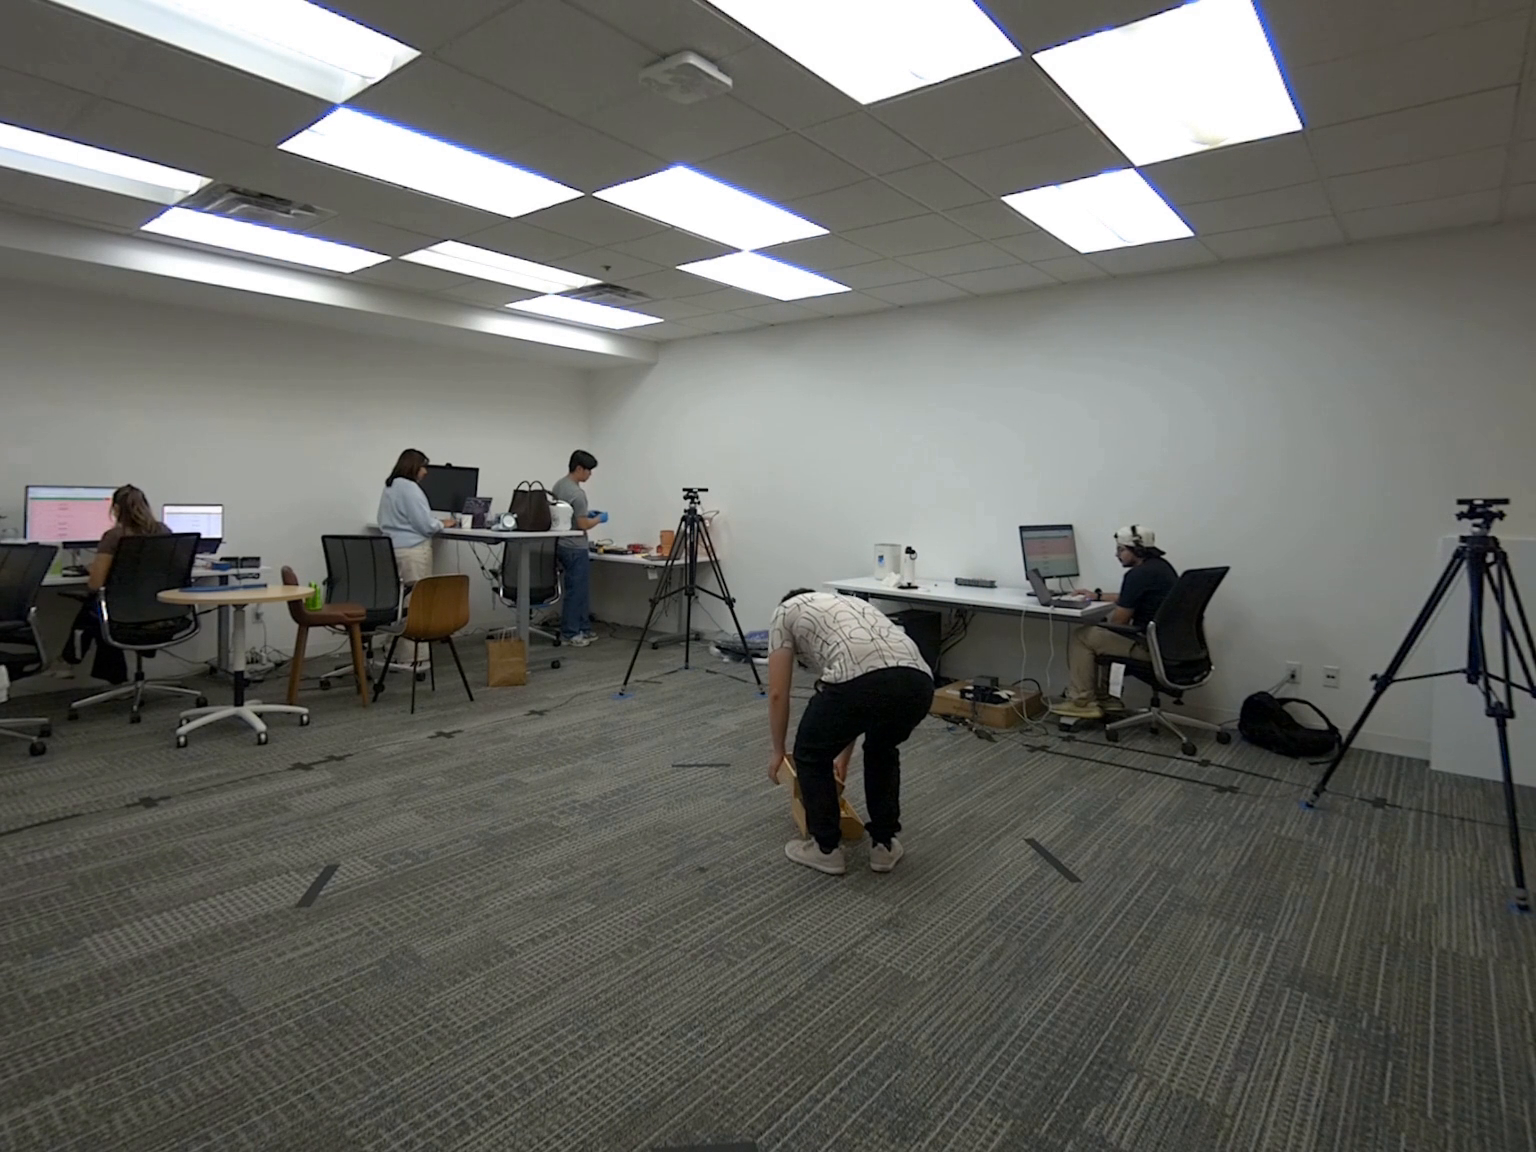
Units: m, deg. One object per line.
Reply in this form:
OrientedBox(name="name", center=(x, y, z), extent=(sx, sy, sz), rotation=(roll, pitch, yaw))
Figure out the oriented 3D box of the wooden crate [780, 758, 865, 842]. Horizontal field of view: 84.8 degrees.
OrientedBox(name="wooden crate", center=(0.220, 0.901, 3.541), extent=(0.299, 0.272, 0.328), rotation=(0, 5, -9))
